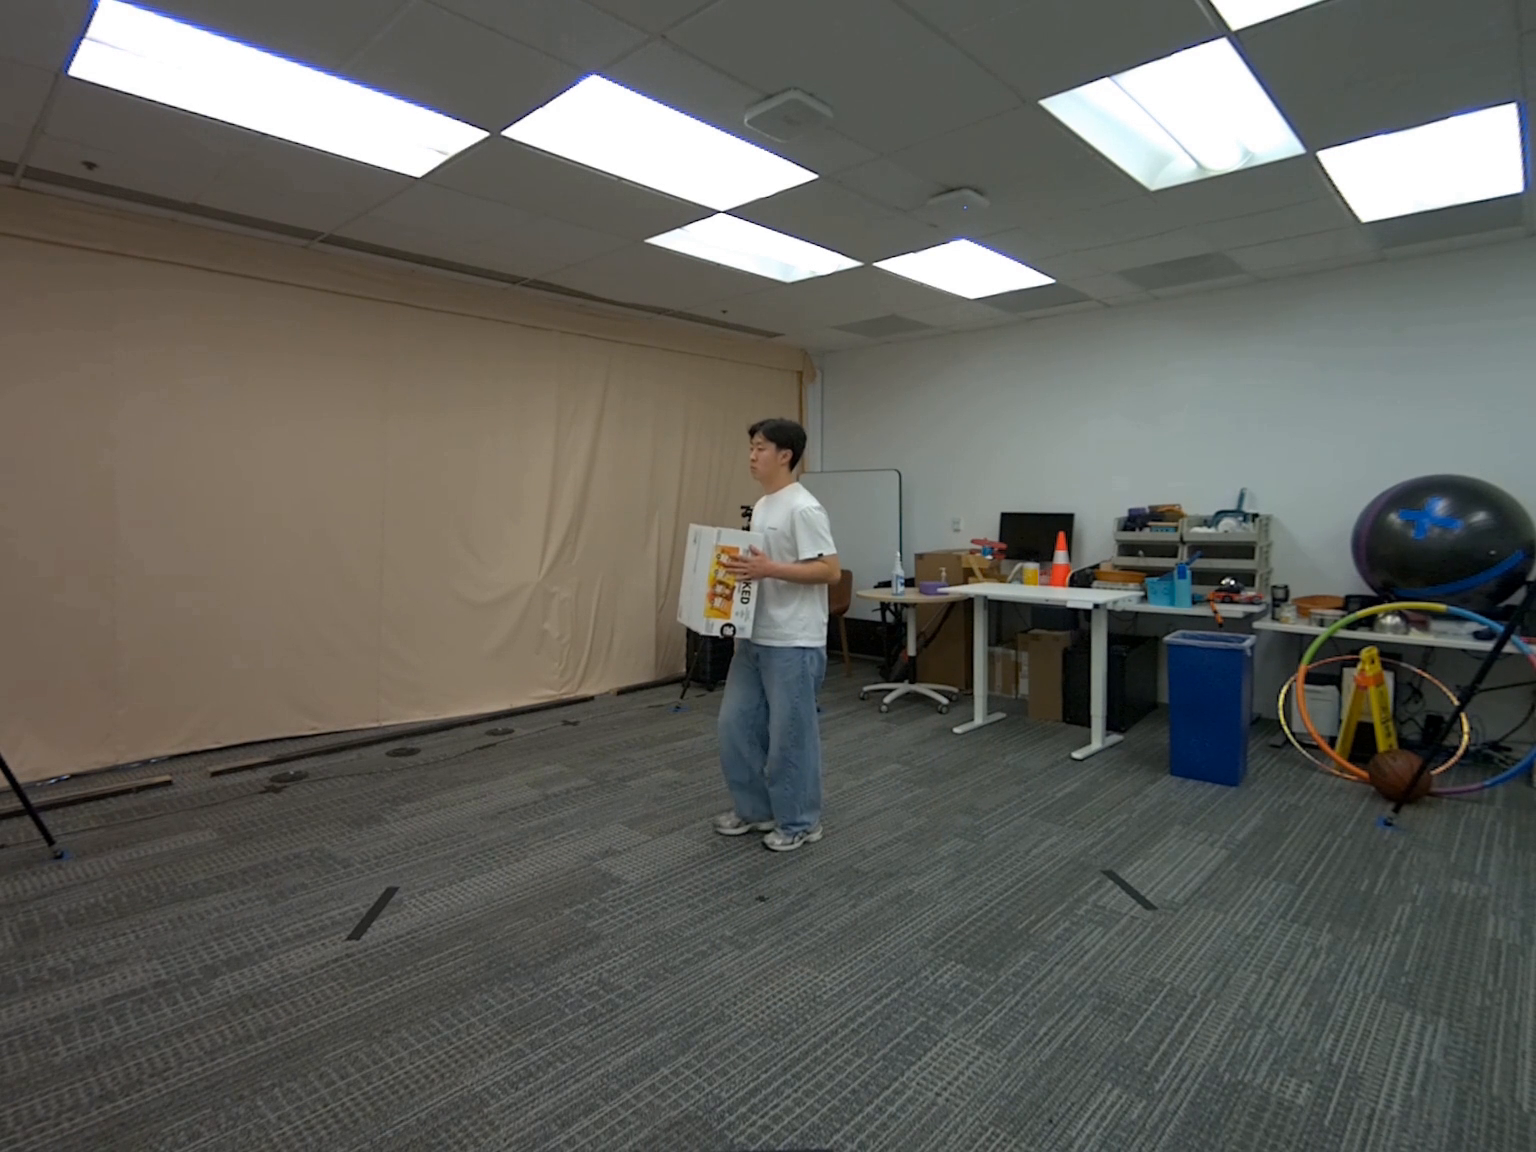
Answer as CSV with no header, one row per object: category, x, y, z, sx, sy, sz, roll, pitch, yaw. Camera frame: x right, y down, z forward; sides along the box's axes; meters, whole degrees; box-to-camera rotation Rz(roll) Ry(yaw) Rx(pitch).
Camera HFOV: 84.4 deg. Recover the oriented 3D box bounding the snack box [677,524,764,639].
snack box,-0.195,0.016,3.344,0.201,0.405,0.348,6,2,-23
